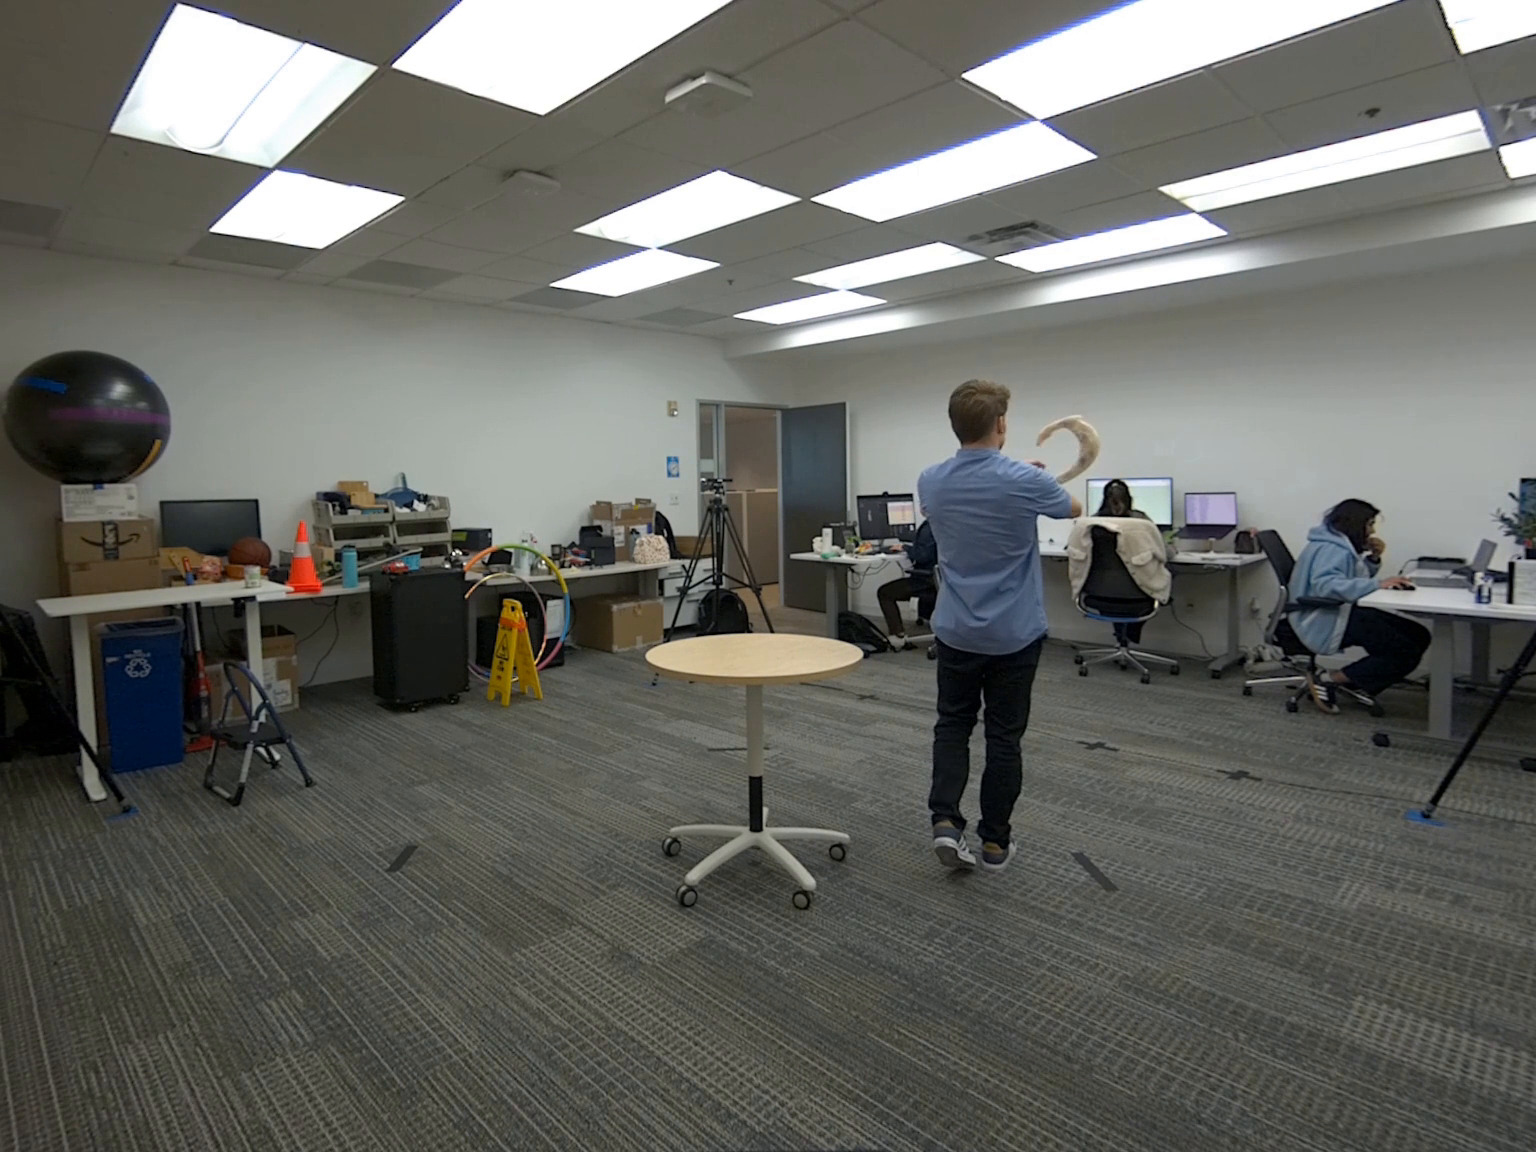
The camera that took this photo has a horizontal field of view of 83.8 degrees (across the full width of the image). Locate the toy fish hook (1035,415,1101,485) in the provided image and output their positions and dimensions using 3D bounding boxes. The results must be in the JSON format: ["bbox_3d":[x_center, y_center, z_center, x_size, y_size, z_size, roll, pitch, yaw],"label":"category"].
[{"bbox_3d":[1.046,-0.390,3.267,0.047,0.232,0.505,1,-41,-44],"label":"toy fish hook"}]
